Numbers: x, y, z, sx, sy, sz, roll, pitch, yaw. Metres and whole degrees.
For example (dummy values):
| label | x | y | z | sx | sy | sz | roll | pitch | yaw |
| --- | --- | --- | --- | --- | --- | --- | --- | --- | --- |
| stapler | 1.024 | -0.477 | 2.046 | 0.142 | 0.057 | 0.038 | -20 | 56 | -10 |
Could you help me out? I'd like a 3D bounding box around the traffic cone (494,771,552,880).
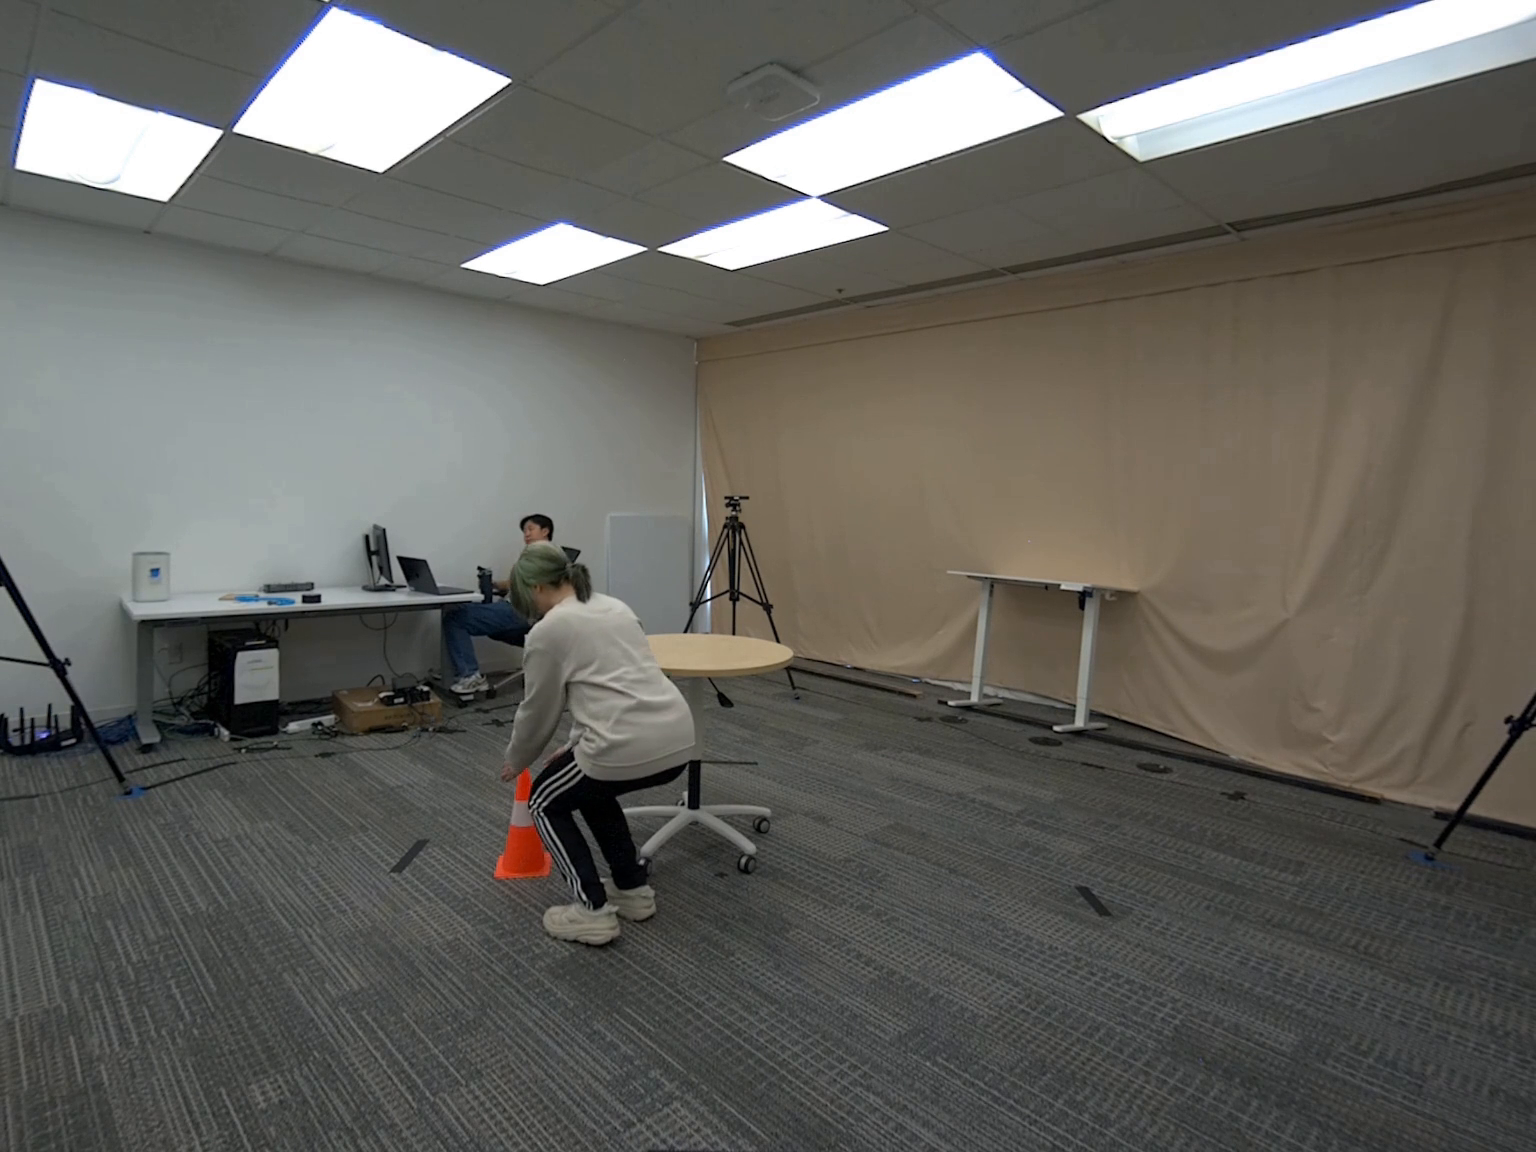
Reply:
| label | x | y | z | sx | sy | sz | roll | pitch | yaw |
| --- | --- | --- | --- | --- | --- | --- | --- | --- | --- |
| traffic cone | -0.914 | 0.899 | 3.134 | 0.202 | 0.382 | 0.207 | 2 | 4 | -8 |
